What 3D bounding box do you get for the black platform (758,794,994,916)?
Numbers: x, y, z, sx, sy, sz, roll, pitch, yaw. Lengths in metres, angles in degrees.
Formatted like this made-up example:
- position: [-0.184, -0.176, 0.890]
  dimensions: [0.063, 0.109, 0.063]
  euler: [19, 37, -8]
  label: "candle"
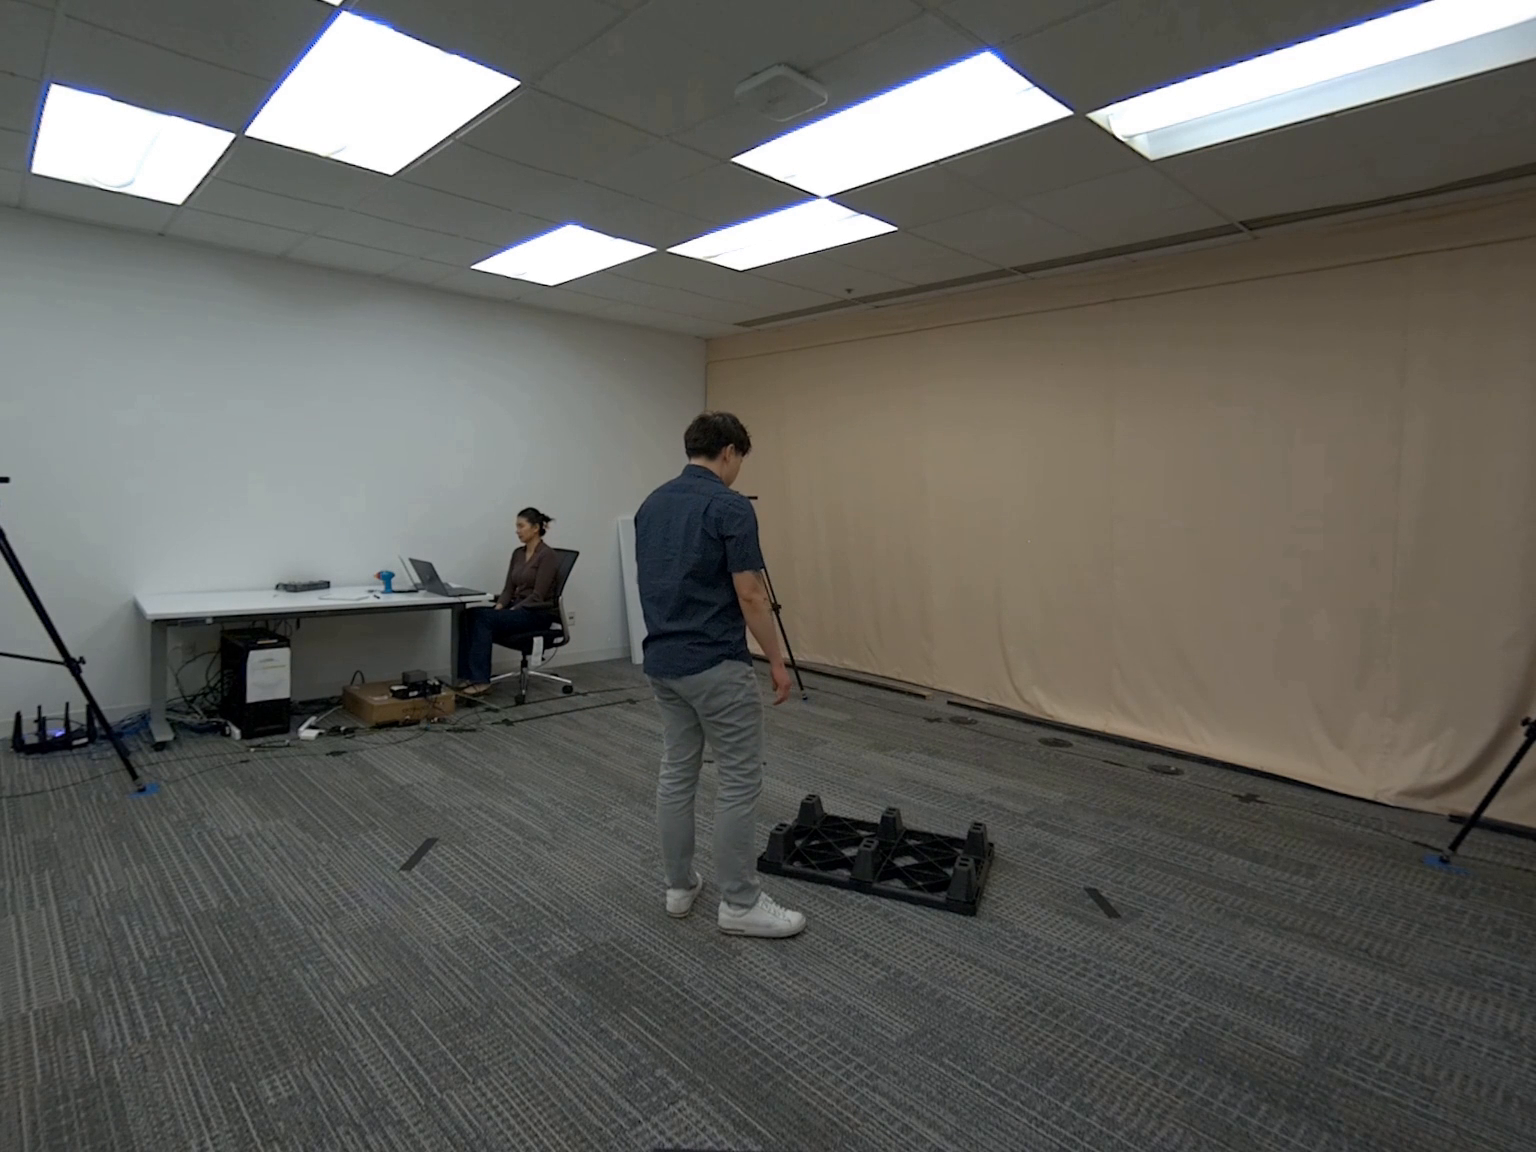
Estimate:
- position: [0.428, 1.038, 3.258]
  dimensions: [0.820, 0.143, 0.596]
  euler: [4, 6, 22]
  label: "black platform"
